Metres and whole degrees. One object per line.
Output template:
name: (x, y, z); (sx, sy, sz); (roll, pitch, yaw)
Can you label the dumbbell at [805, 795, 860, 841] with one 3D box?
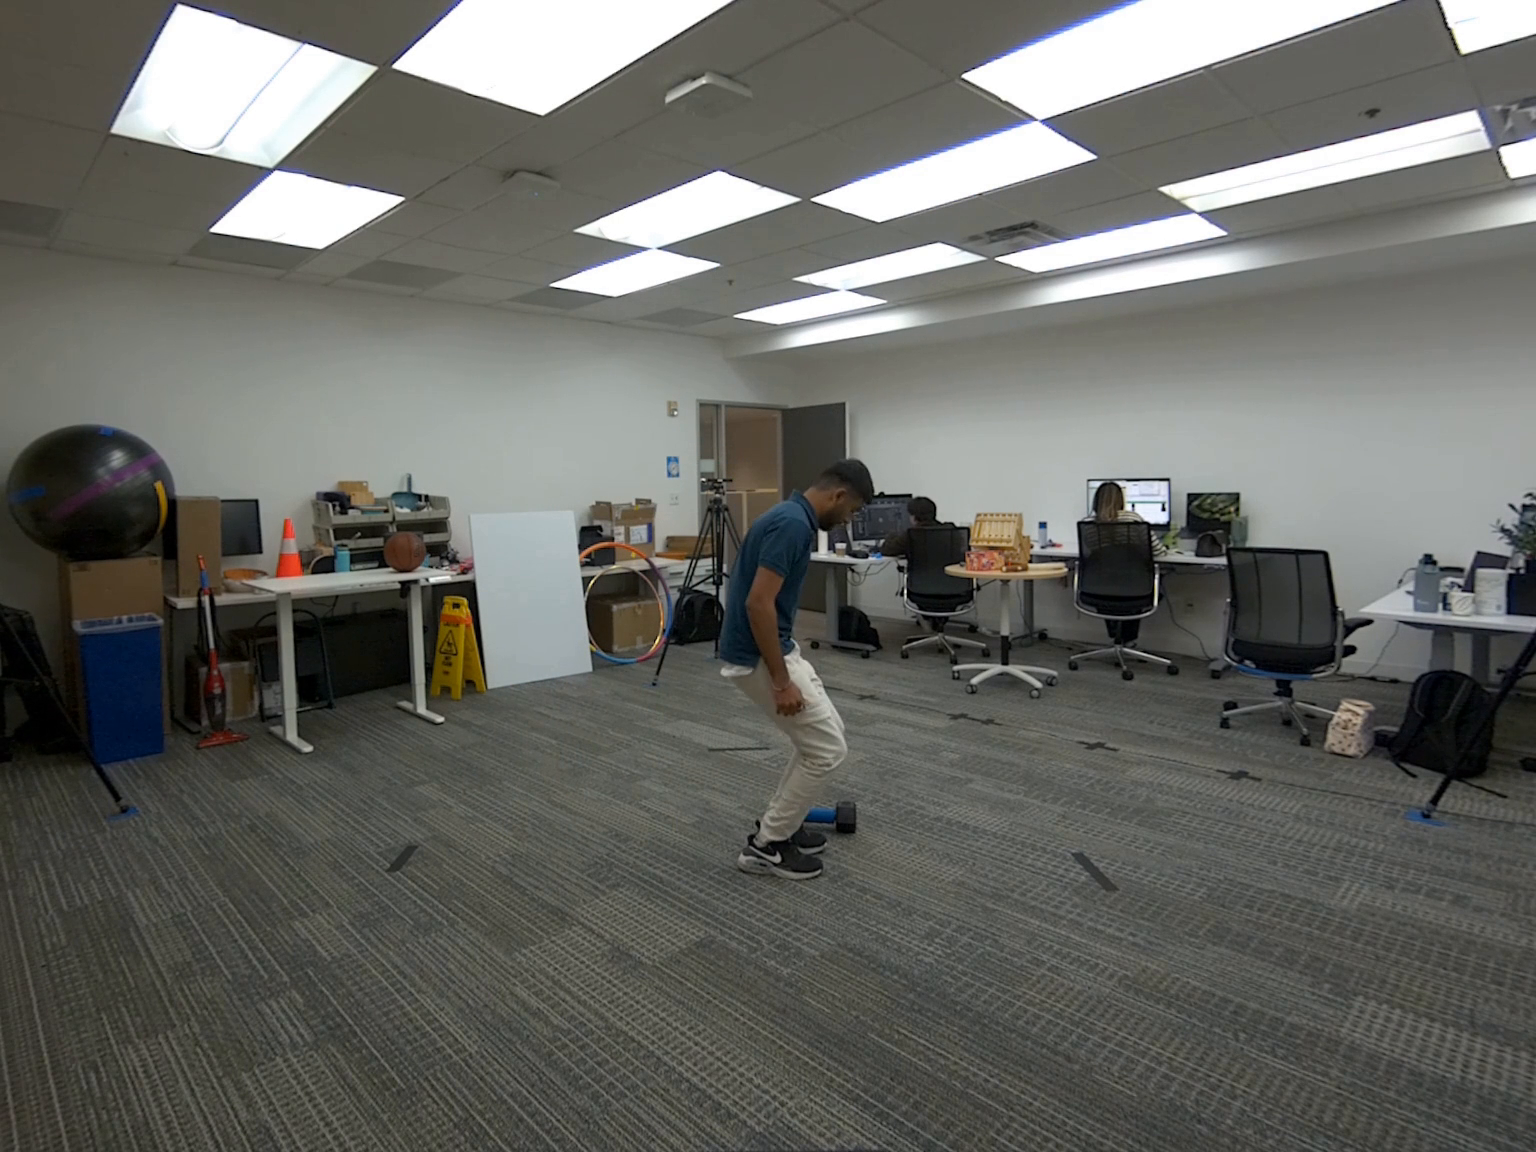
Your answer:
dumbbell: (0.211, 0.955, 3.401); (0.296, 0.119, 0.110); (1, 34, 10)
